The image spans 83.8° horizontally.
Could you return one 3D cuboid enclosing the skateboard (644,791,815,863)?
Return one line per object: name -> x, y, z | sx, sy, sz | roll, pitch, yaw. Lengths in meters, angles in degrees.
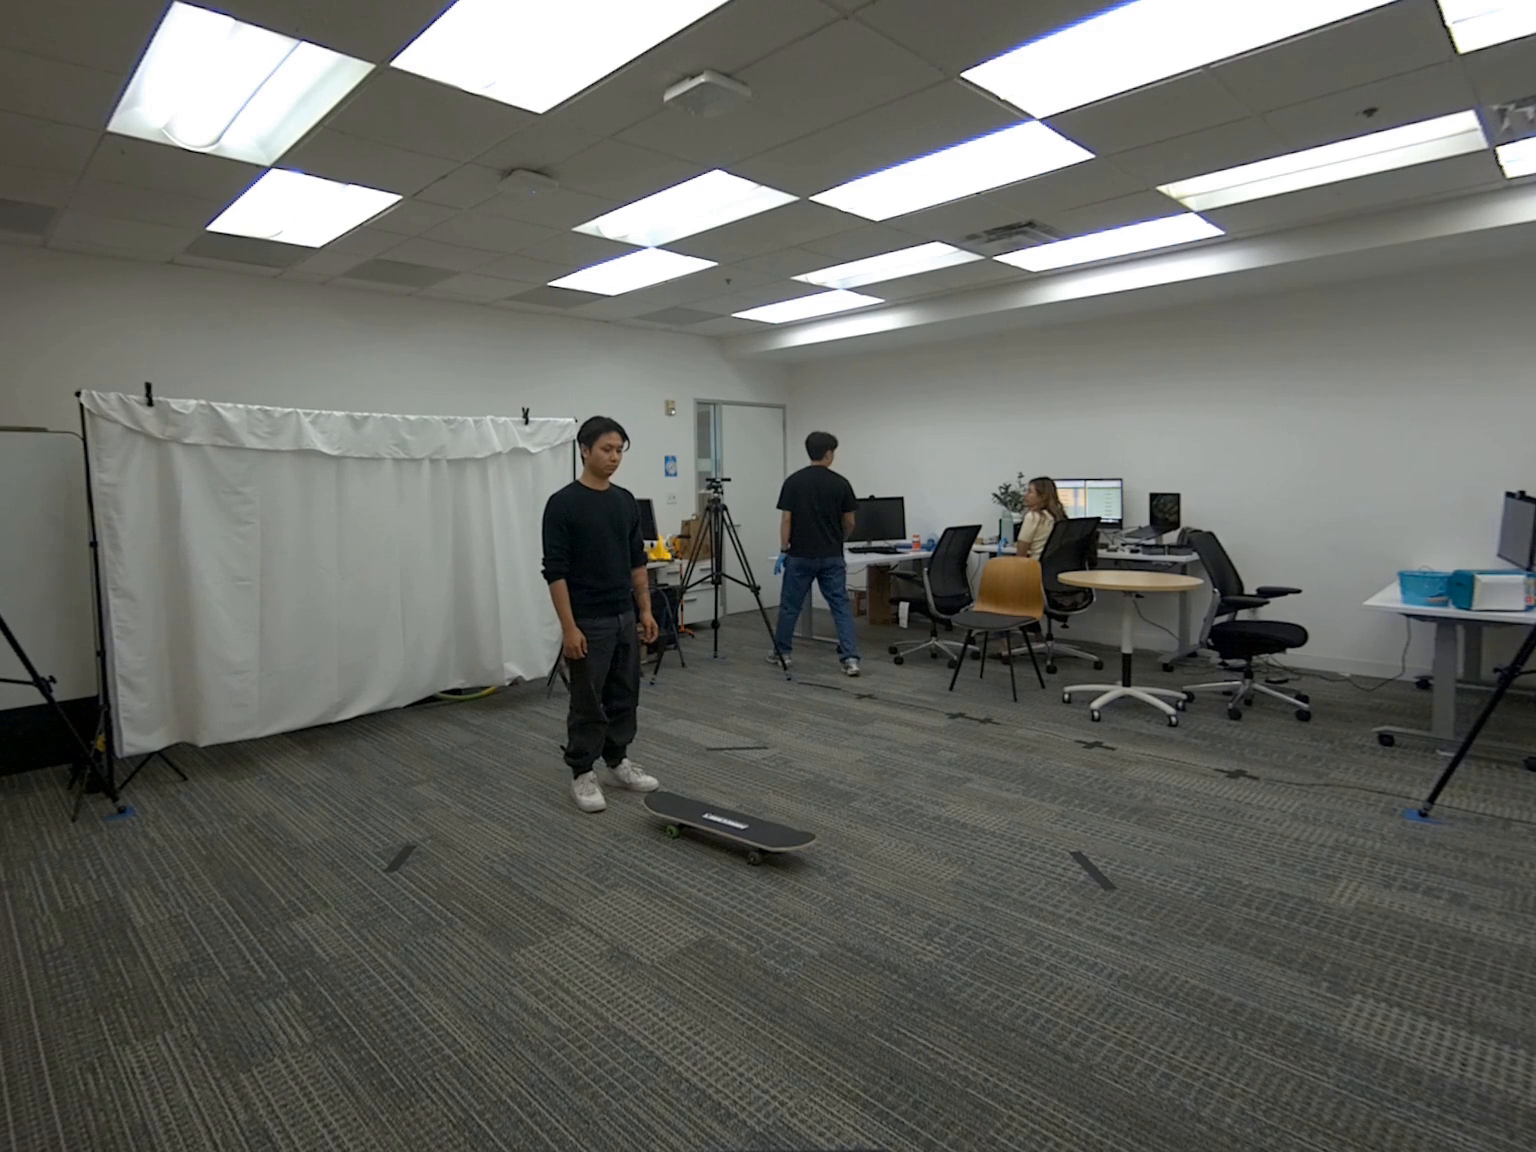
skateboard -> -0.160, 0.969, 3.274 | 0.809, 0.110, 0.189 | 4, 7, 36
